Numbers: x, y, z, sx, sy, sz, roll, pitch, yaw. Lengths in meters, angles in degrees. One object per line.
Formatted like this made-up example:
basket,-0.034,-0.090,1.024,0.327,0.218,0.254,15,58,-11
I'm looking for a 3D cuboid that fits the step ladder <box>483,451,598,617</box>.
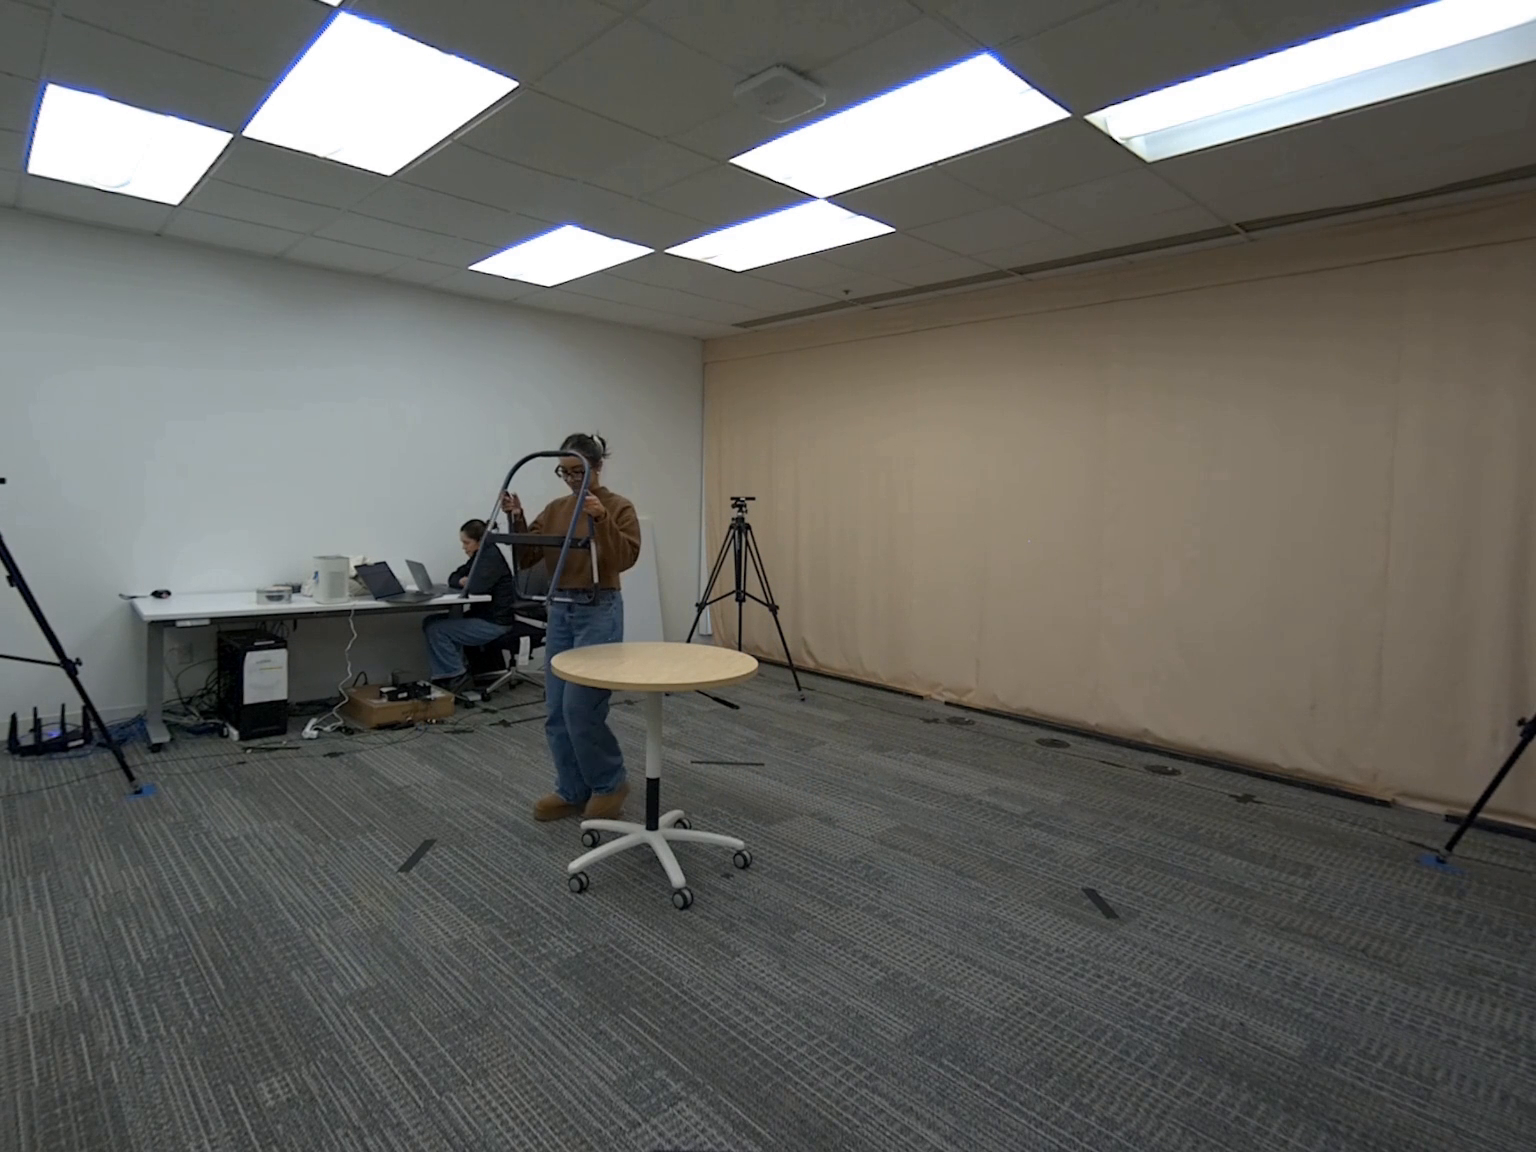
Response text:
step ladder,-0.904,-0.198,3.268,0.439,0.607,0.342,4,-3,24
